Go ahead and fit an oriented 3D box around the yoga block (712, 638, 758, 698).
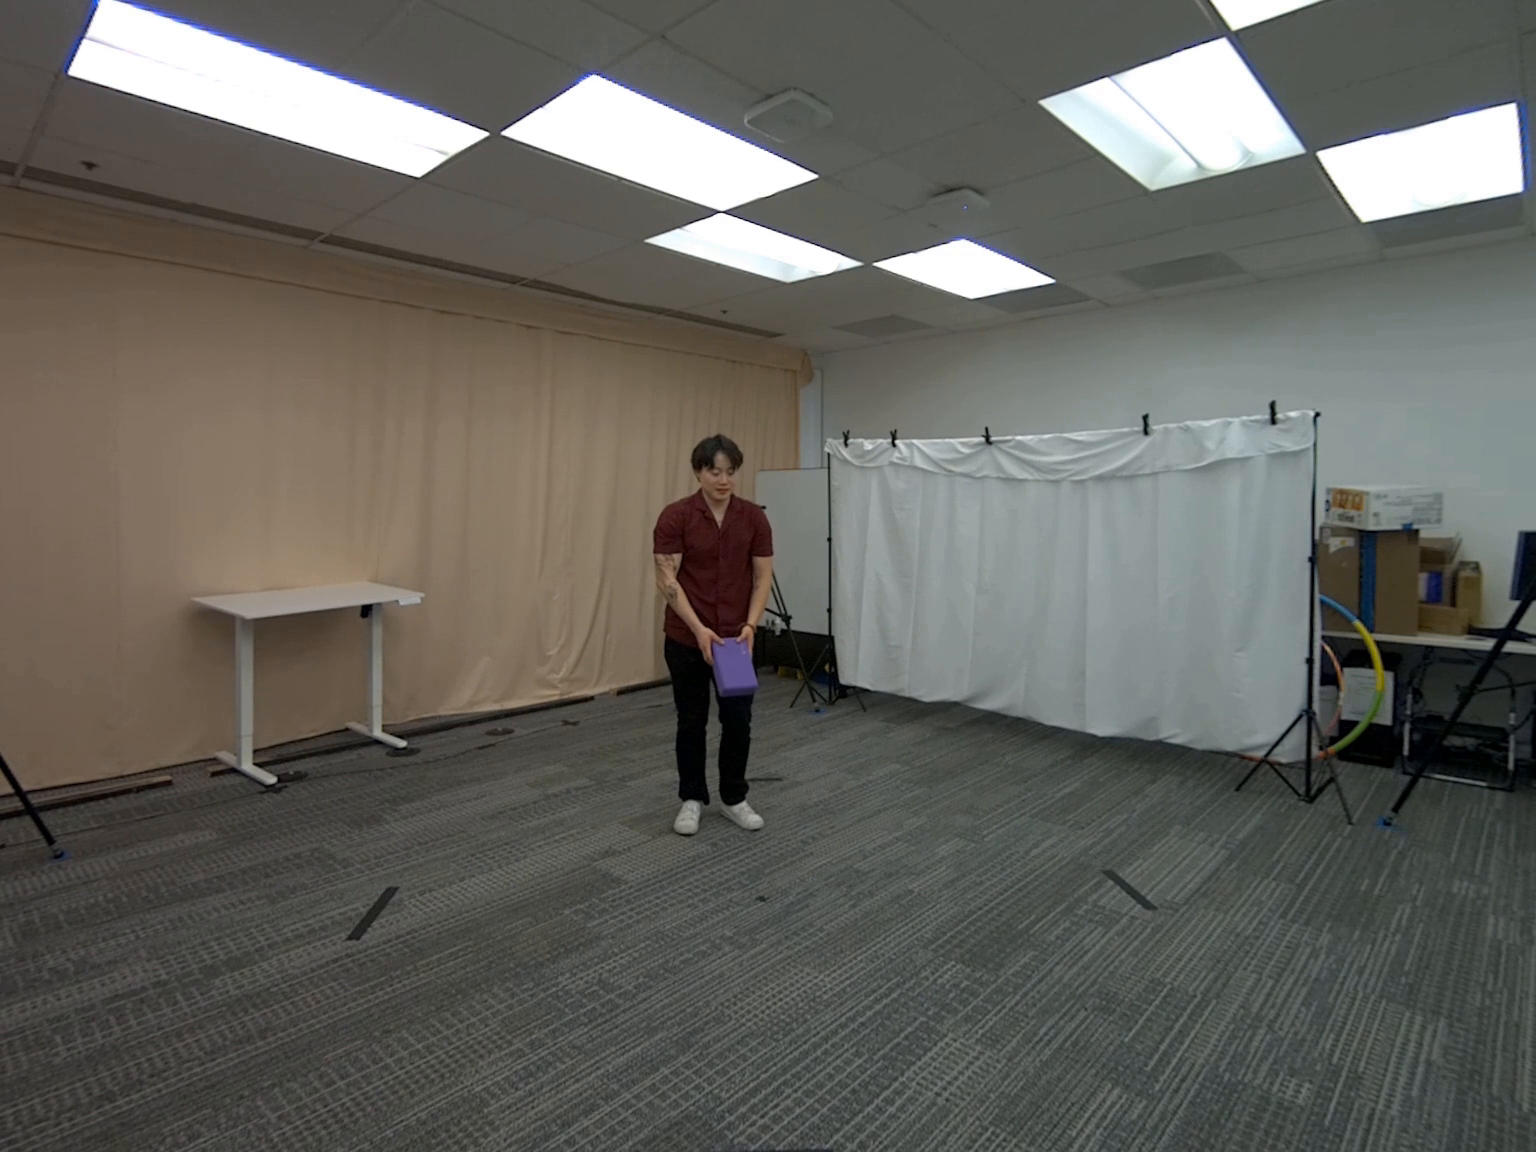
[{"bbox_3d":[-0.128,0.359,3.380,0.146,0.234,0.076,-3,-30,-19],"label":"yoga block"}]
